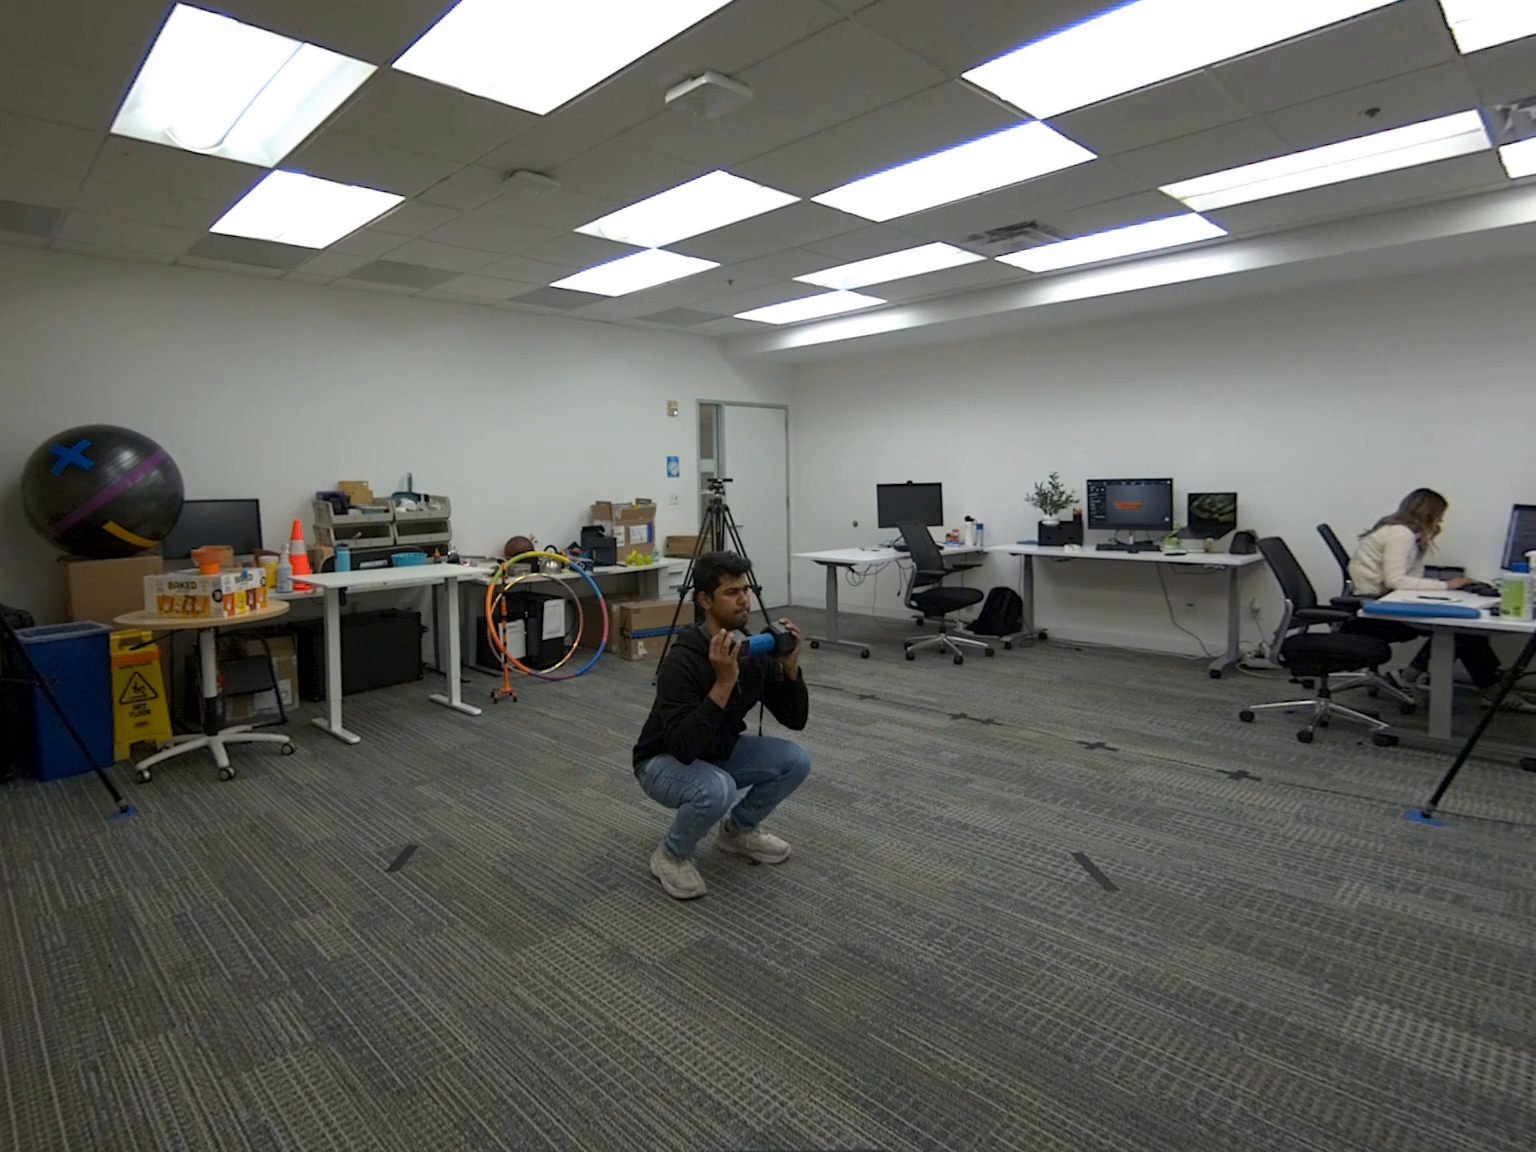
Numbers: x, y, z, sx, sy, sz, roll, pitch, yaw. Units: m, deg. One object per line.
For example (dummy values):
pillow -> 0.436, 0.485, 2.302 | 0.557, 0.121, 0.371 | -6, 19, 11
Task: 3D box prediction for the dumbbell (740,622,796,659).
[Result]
dumbbell -> -0.044, 0.211, 2.886 | 0.286, 0.123, 0.111 | -5, 0, -41
